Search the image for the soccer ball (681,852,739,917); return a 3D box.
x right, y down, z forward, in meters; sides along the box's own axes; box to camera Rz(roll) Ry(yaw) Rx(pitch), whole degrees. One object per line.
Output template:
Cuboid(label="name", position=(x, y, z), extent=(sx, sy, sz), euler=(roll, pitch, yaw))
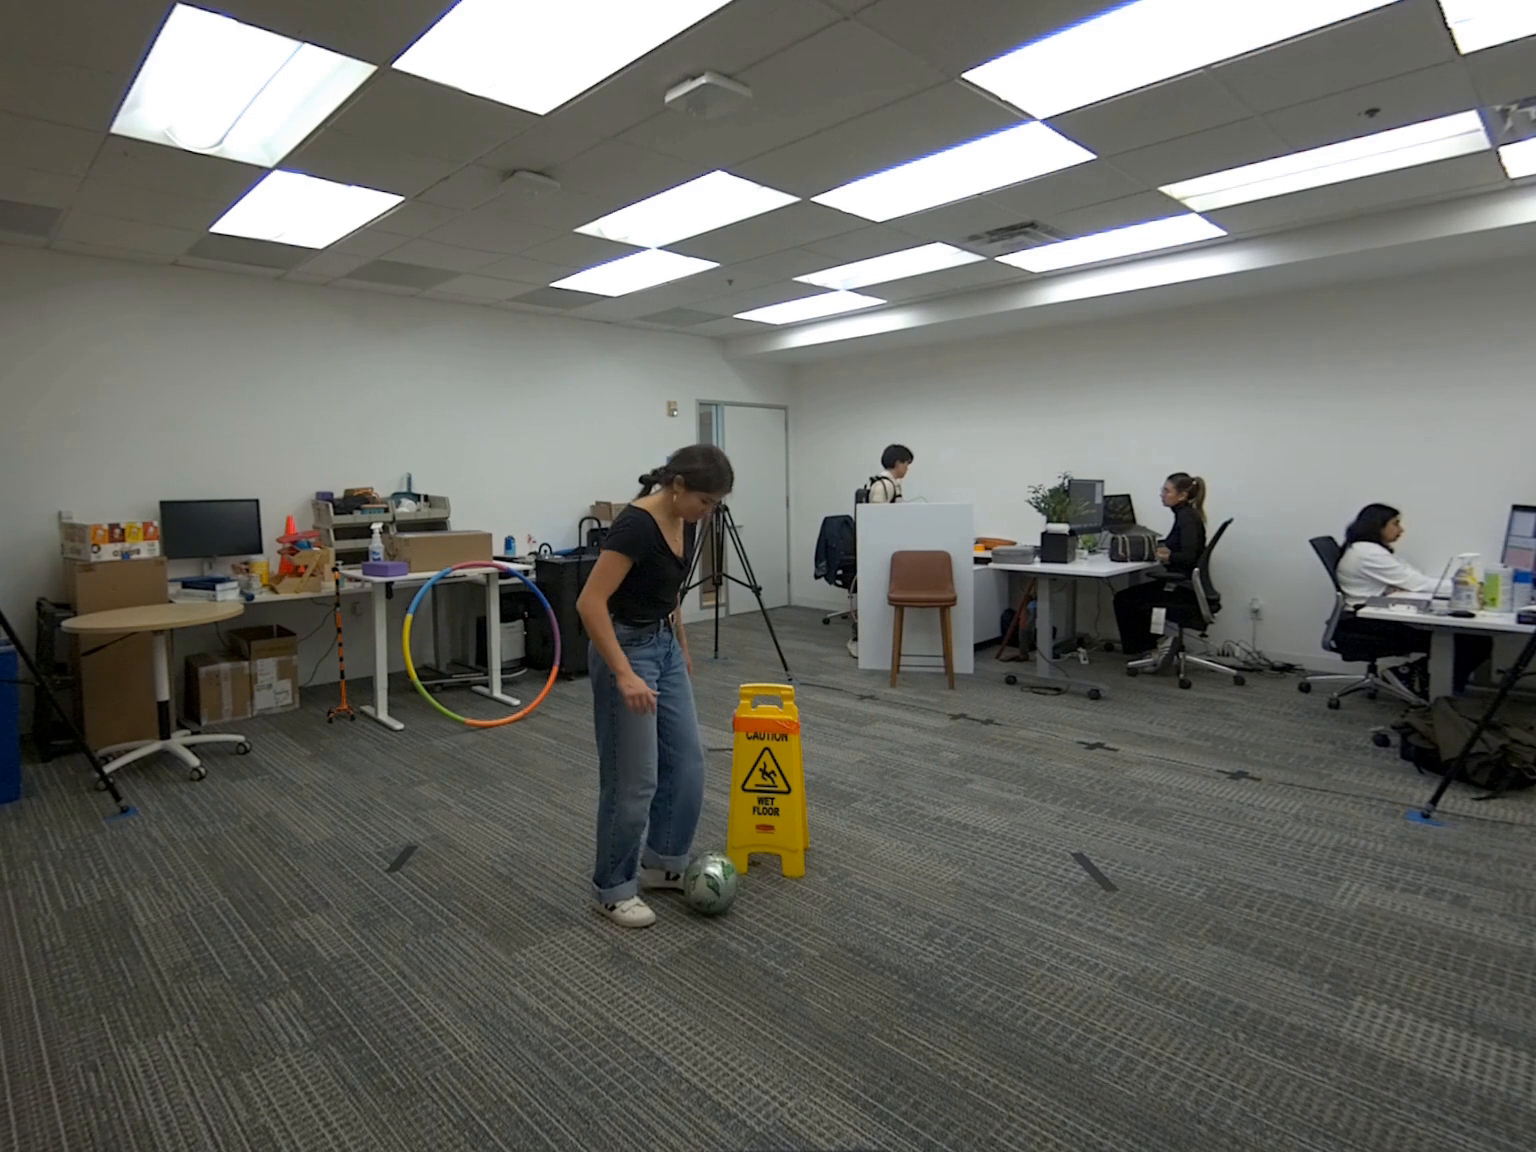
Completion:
Cuboid(label="soccer ball", position=(-0.187, 0.993, 2.766), extent=(0.187, 0.187, 0.188), euler=(-1, 5, -2))
